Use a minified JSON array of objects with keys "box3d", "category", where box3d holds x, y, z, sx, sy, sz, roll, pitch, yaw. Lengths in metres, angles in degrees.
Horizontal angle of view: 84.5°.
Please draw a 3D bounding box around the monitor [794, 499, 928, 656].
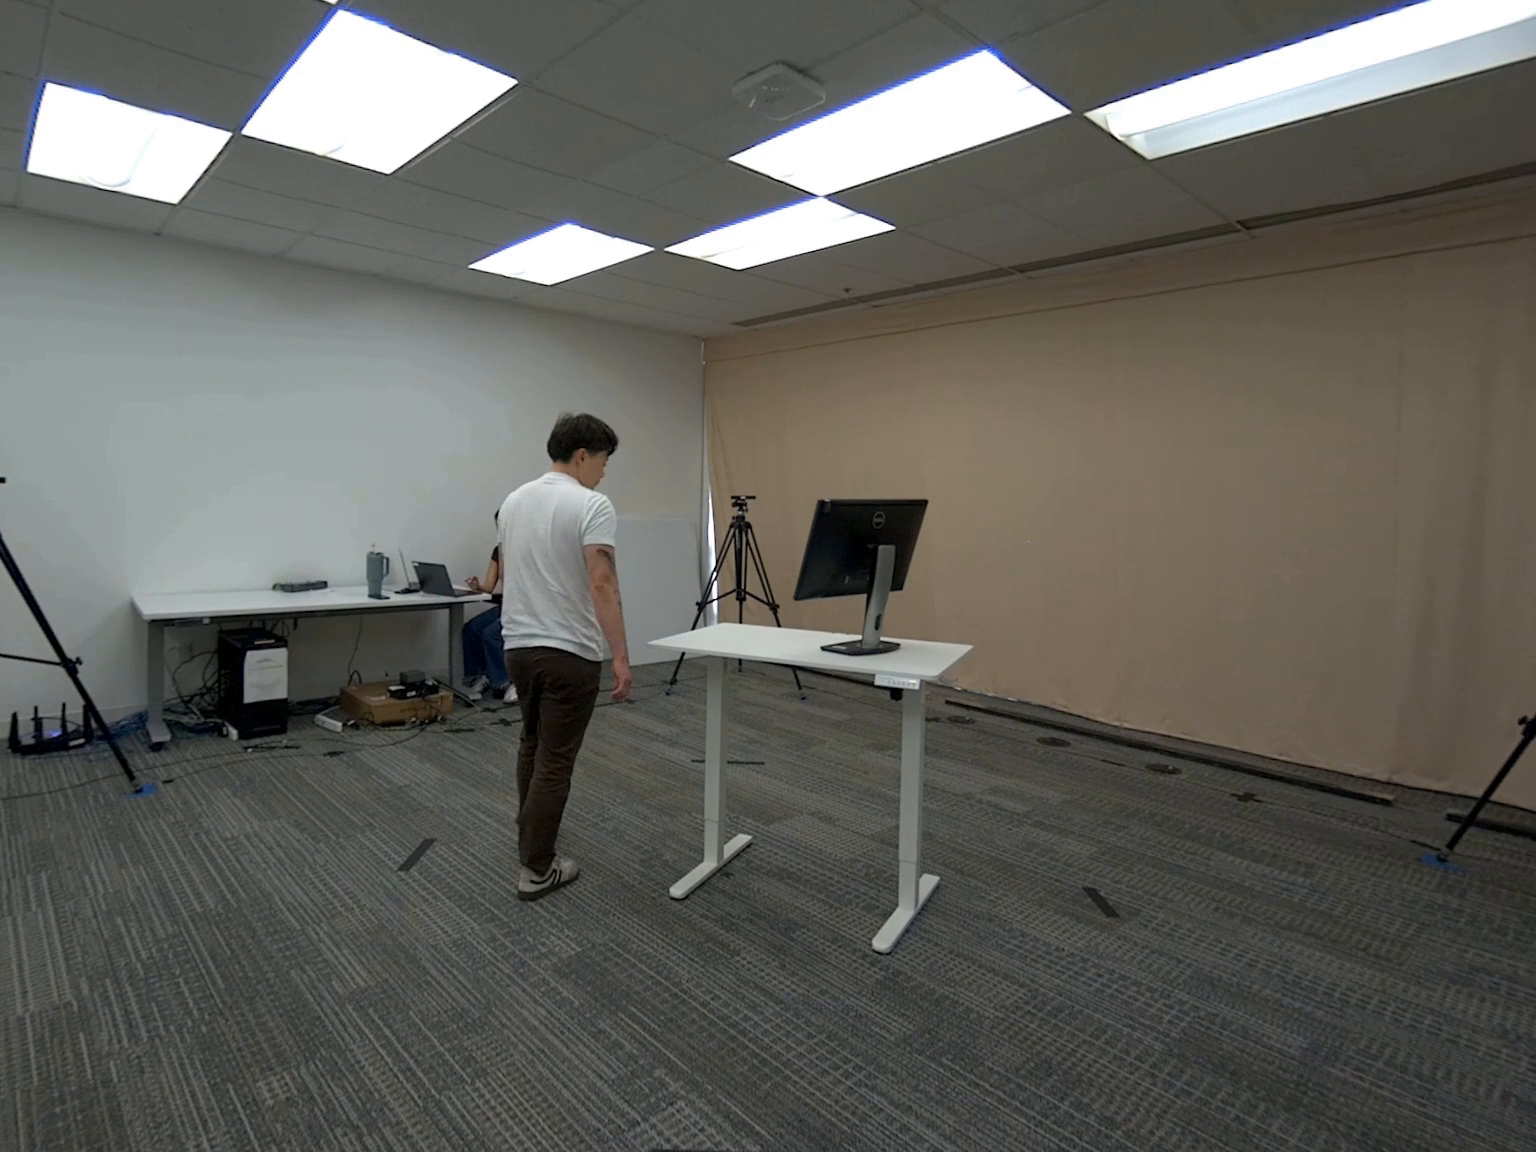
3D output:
[{"box3d":[0.339,-0.002,2.860,0.527,0.520,0.192,-4,11,-42],"category":"monitor"}]
